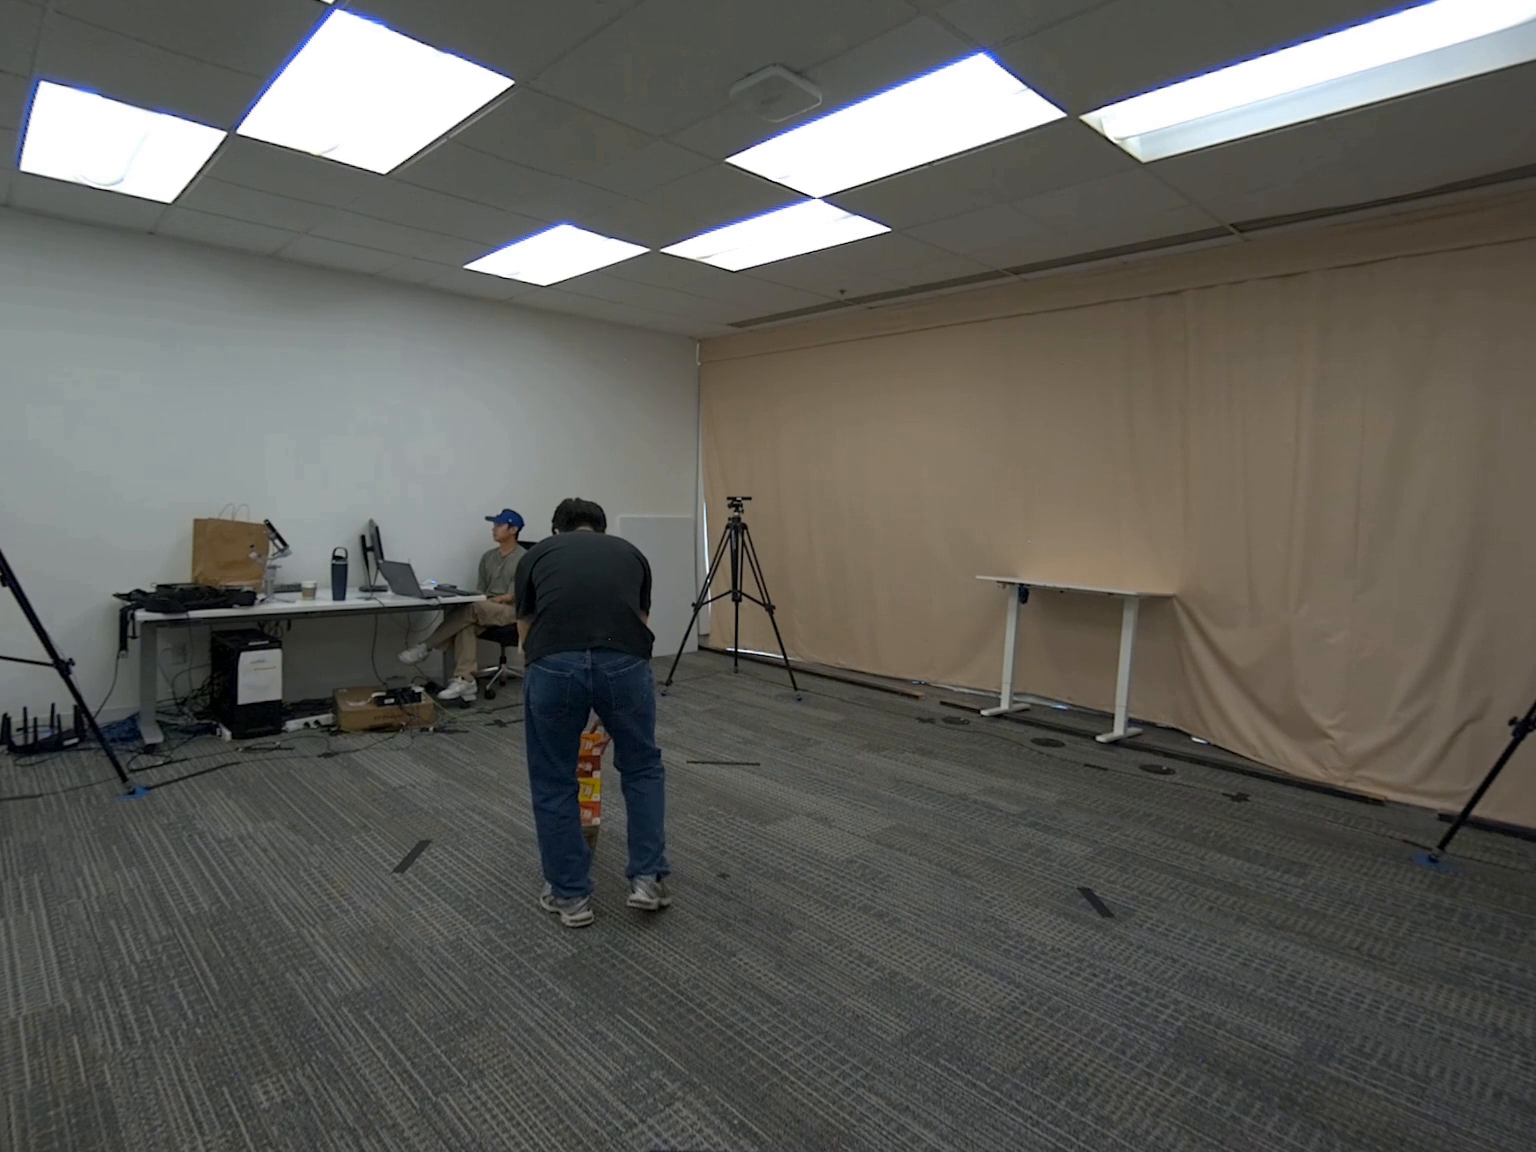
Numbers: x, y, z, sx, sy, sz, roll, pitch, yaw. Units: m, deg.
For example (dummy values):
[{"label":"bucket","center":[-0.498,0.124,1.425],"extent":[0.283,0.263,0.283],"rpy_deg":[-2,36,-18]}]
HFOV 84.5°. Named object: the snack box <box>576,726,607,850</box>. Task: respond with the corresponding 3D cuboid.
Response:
[{"label":"snack box","center":[-0.747,0.832,3.172],"extent":[0.204,0.348,0.400],"rpy_deg":[1,-32,-12]}]
